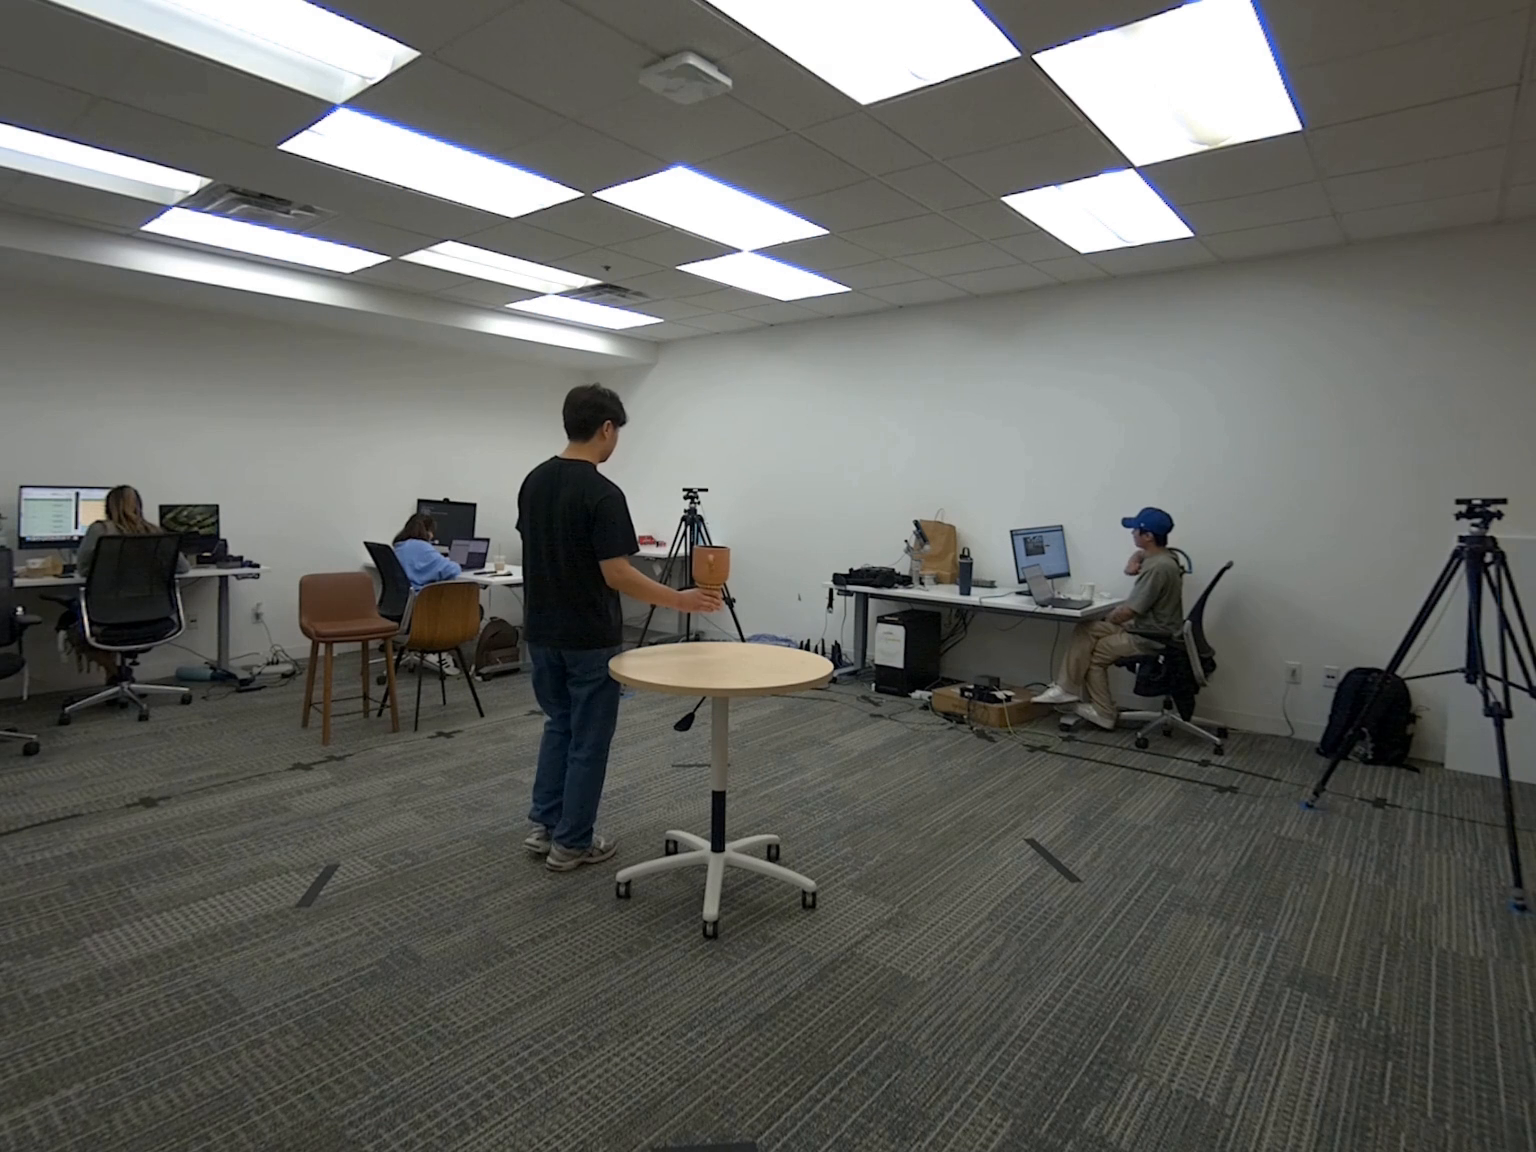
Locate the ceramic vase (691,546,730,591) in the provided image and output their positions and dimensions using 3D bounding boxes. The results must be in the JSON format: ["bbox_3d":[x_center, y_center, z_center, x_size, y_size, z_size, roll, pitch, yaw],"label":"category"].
[{"bbox_3d":[-0.221,0.005,3.042,0.139,0.219,0.154,5,6,35],"label":"ceramic vase"}]
